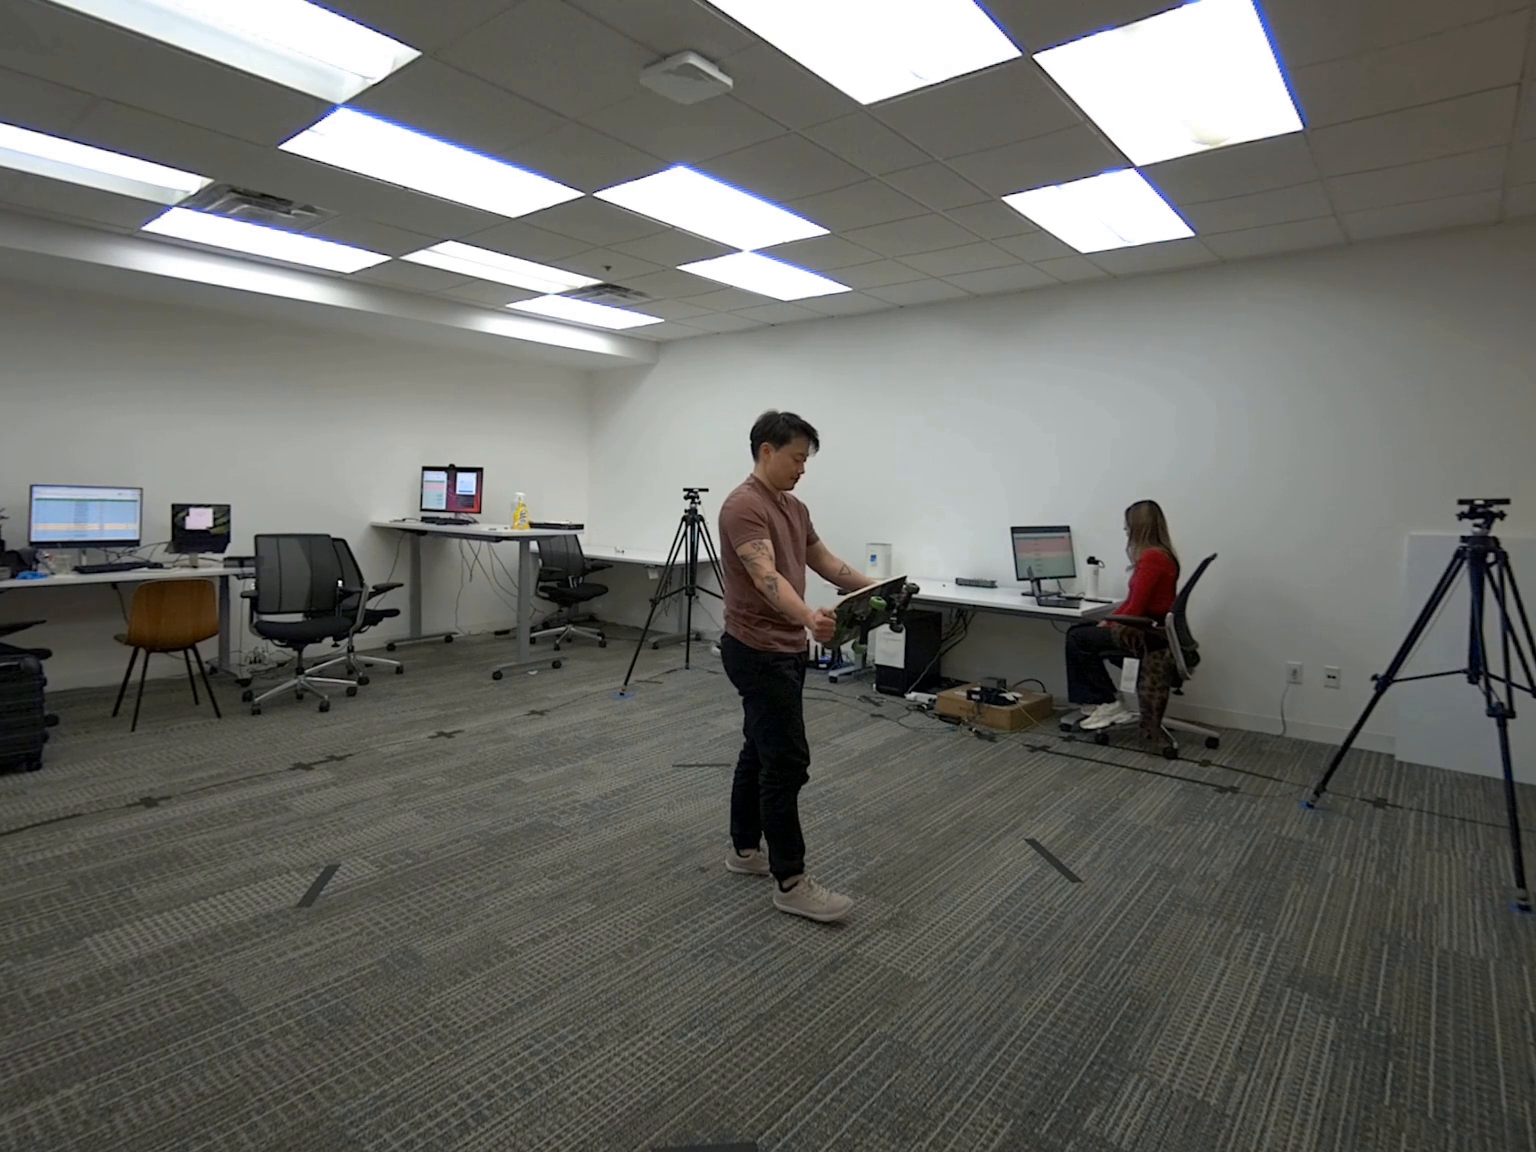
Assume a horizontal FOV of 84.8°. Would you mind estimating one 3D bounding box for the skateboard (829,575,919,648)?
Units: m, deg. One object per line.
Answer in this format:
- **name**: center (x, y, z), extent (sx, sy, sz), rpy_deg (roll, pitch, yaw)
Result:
- **skateboard**: center (0.365, 0.117, 2.829), extent (0.114, 0.192, 0.768), rpy_deg (22, 16, 24)
